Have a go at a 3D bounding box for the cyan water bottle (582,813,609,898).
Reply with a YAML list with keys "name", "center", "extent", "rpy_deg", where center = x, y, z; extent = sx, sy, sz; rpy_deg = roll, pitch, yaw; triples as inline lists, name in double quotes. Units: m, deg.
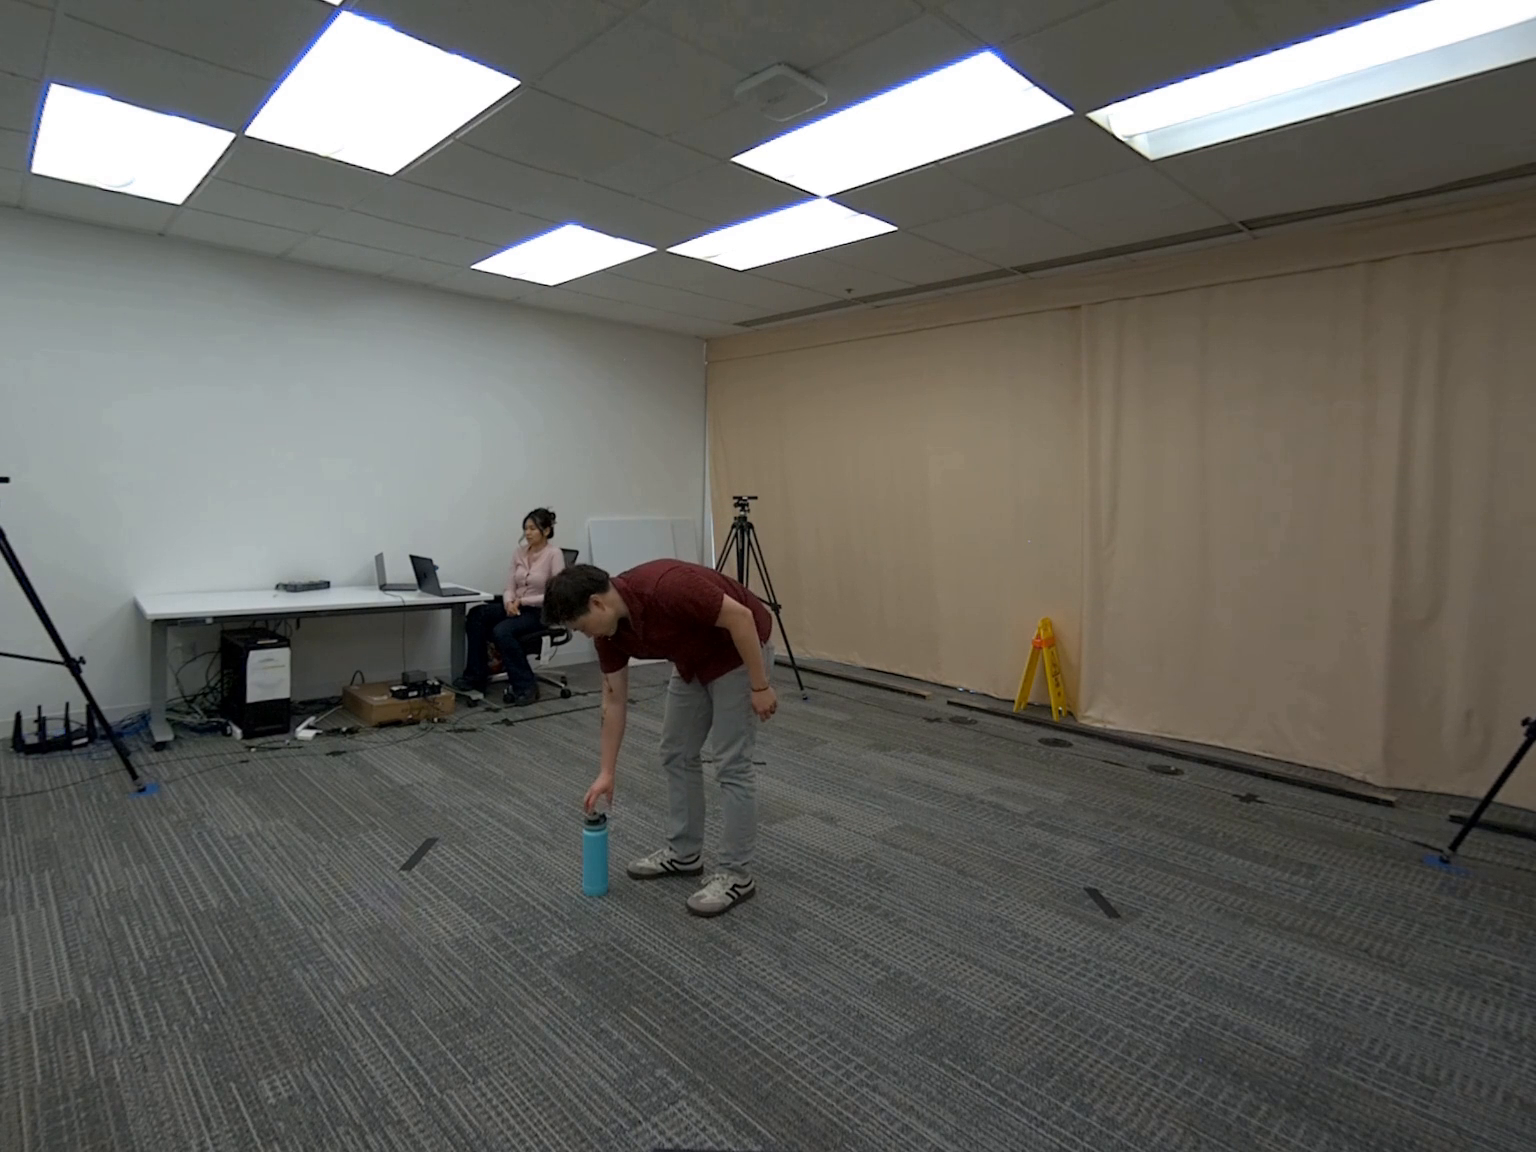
- name: "cyan water bottle"
  center: [-0.603, 0.965, 2.944]
  extent: [0.092, 0.283, 0.092]
  rpy_deg: [3, 3, -2]
